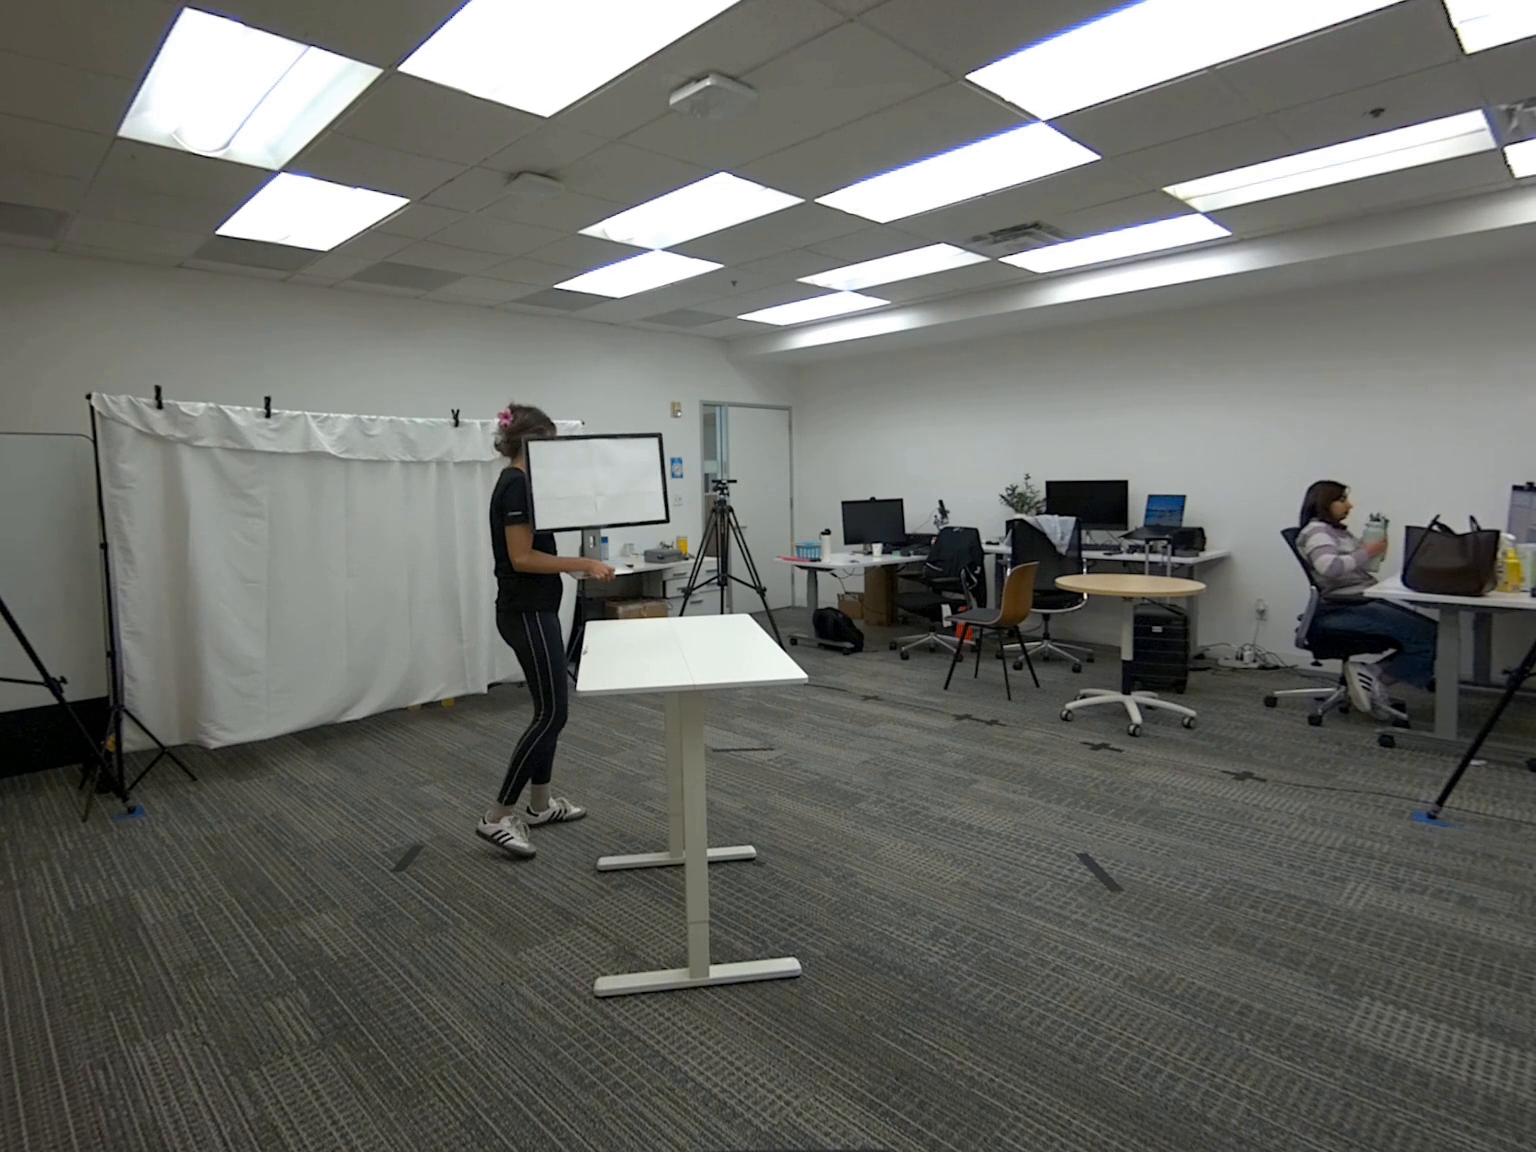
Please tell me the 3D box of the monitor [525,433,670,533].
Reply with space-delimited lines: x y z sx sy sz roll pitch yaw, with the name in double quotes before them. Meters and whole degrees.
"monitor" -0.665 -0.278 3.329 0.527 0.517 0.193 -7 13 -30
